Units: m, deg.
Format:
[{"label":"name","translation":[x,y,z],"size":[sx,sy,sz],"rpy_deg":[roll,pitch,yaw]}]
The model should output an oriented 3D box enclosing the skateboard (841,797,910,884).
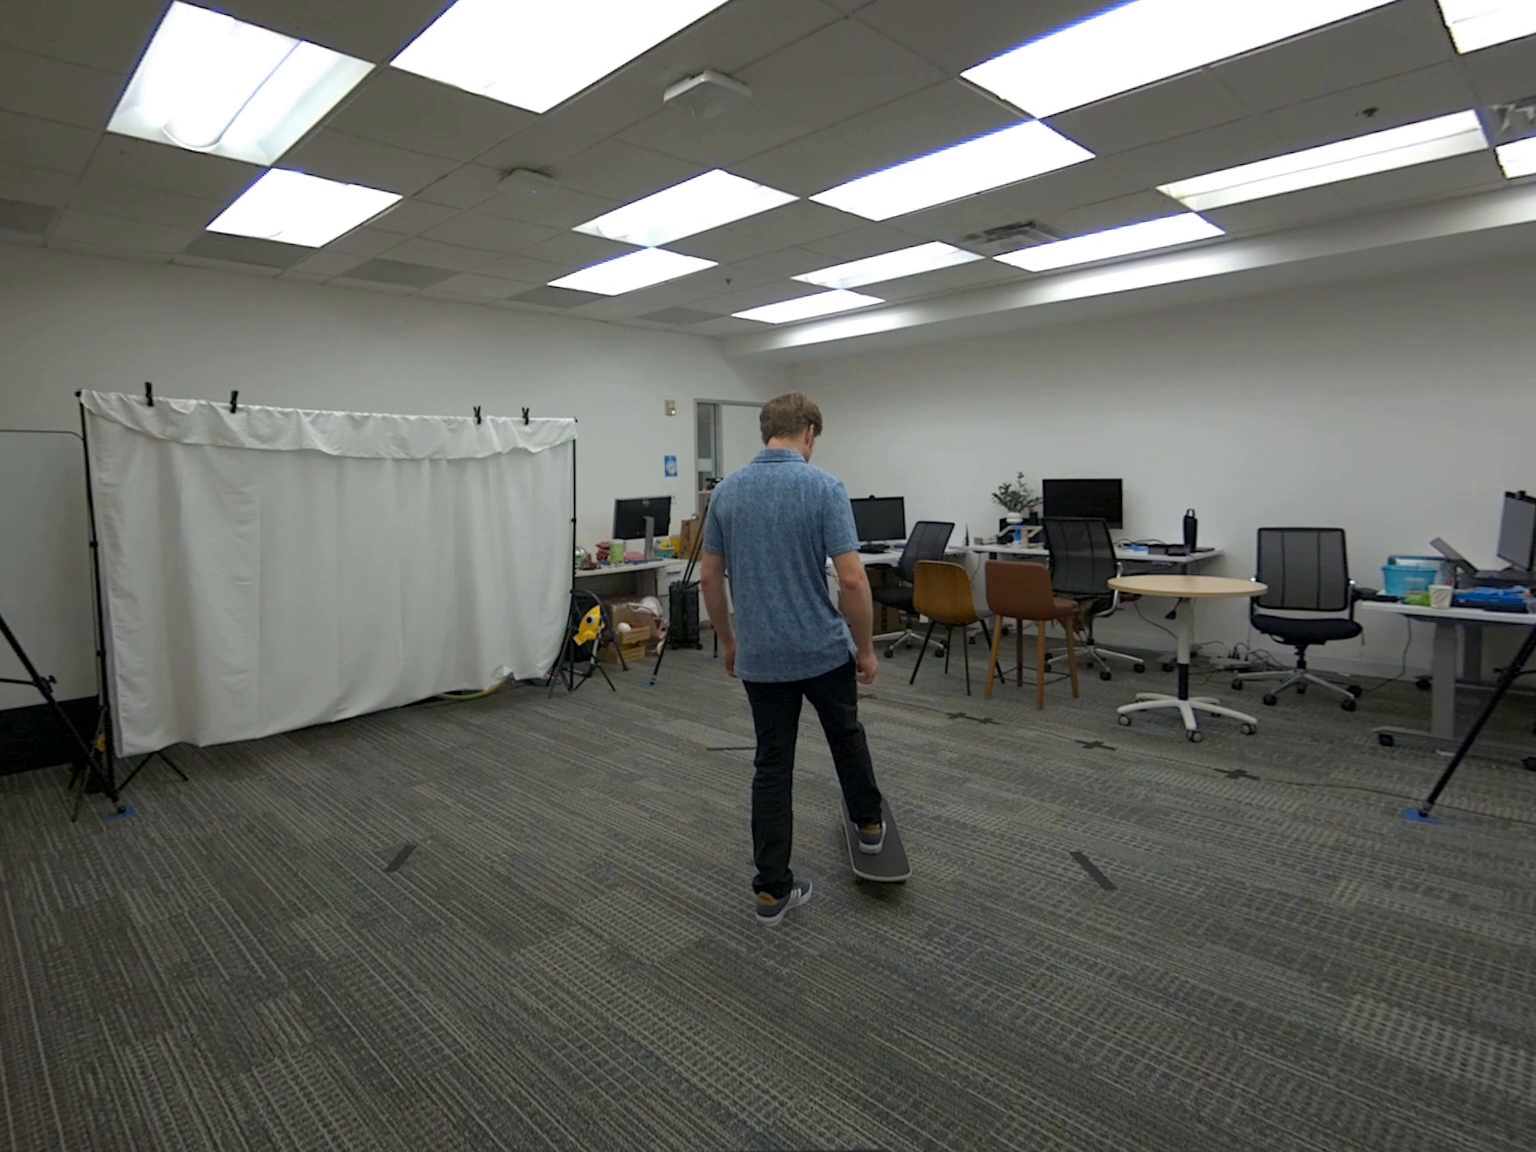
[{"label":"skateboard","translation":[0.385,0.973,3.132],"size":[0.194,0.110,0.787],"rpy_deg":[-3,6,1]}]
